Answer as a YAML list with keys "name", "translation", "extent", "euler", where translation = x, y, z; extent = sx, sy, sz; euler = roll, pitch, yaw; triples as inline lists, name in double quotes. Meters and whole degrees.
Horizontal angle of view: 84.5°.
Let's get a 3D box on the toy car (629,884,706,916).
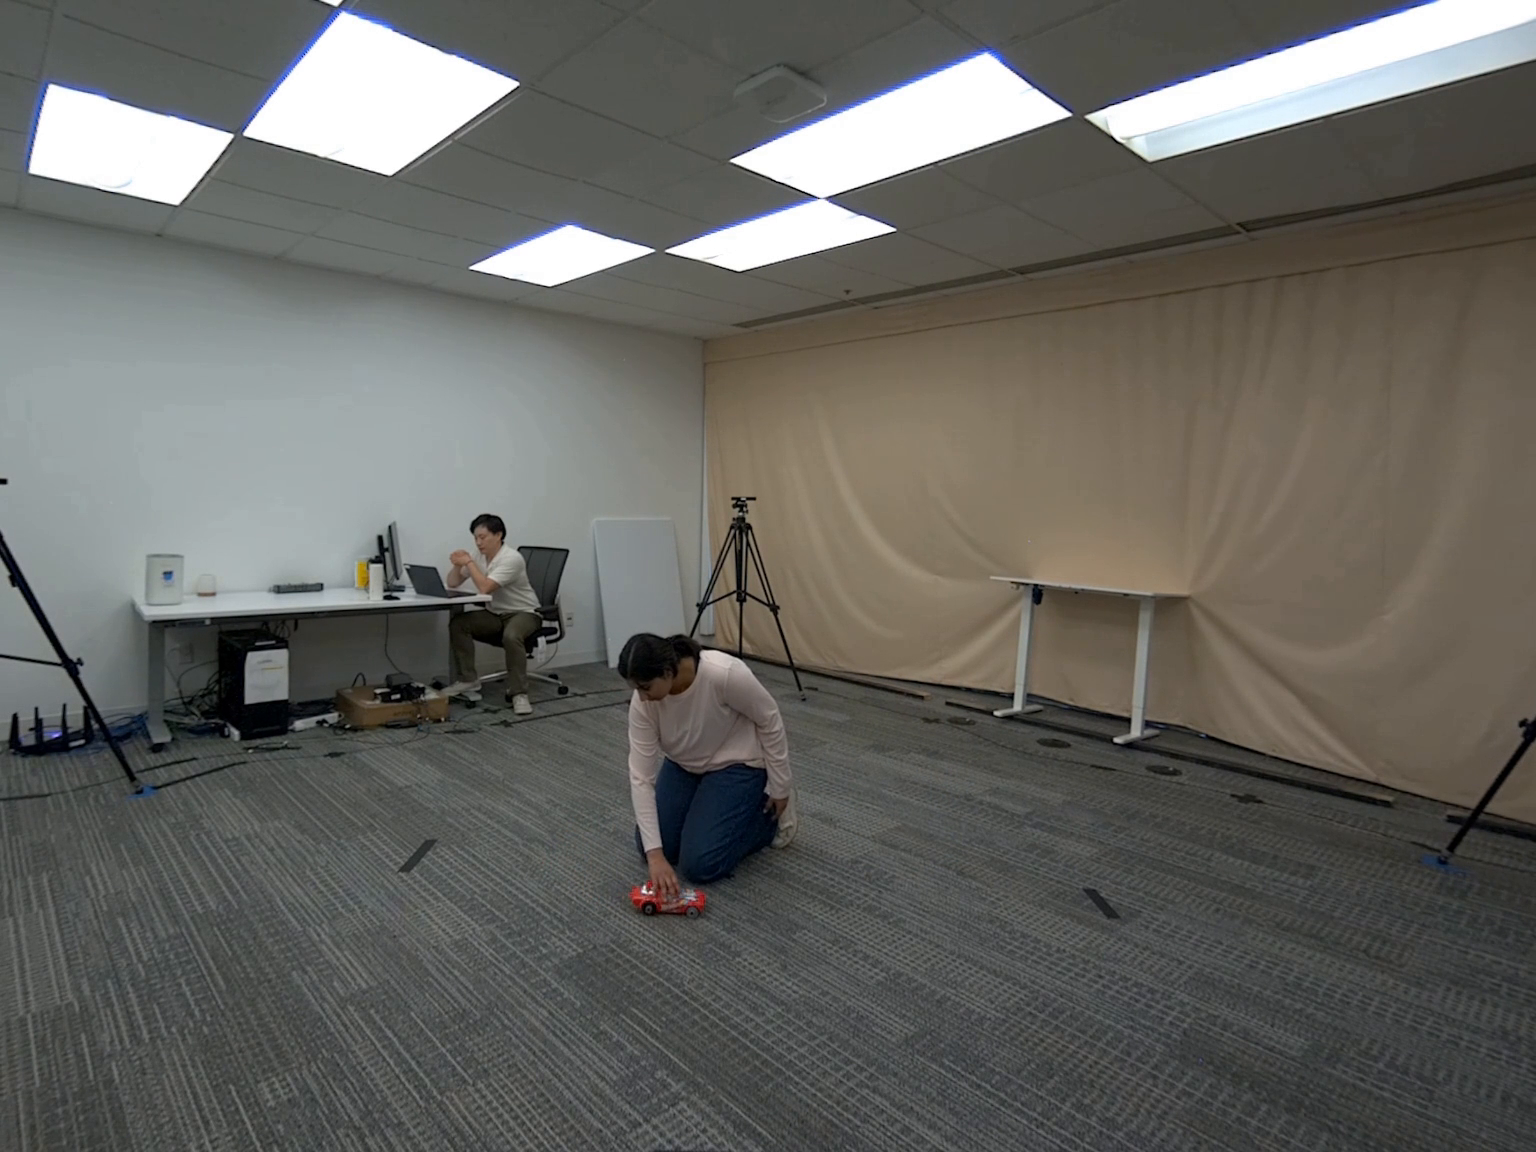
- name: "toy car"
  translation: [-0.360, 1.095, 2.841]
  extent: [0.255, 0.083, 0.130]
  euler: [13, 4, 2]
